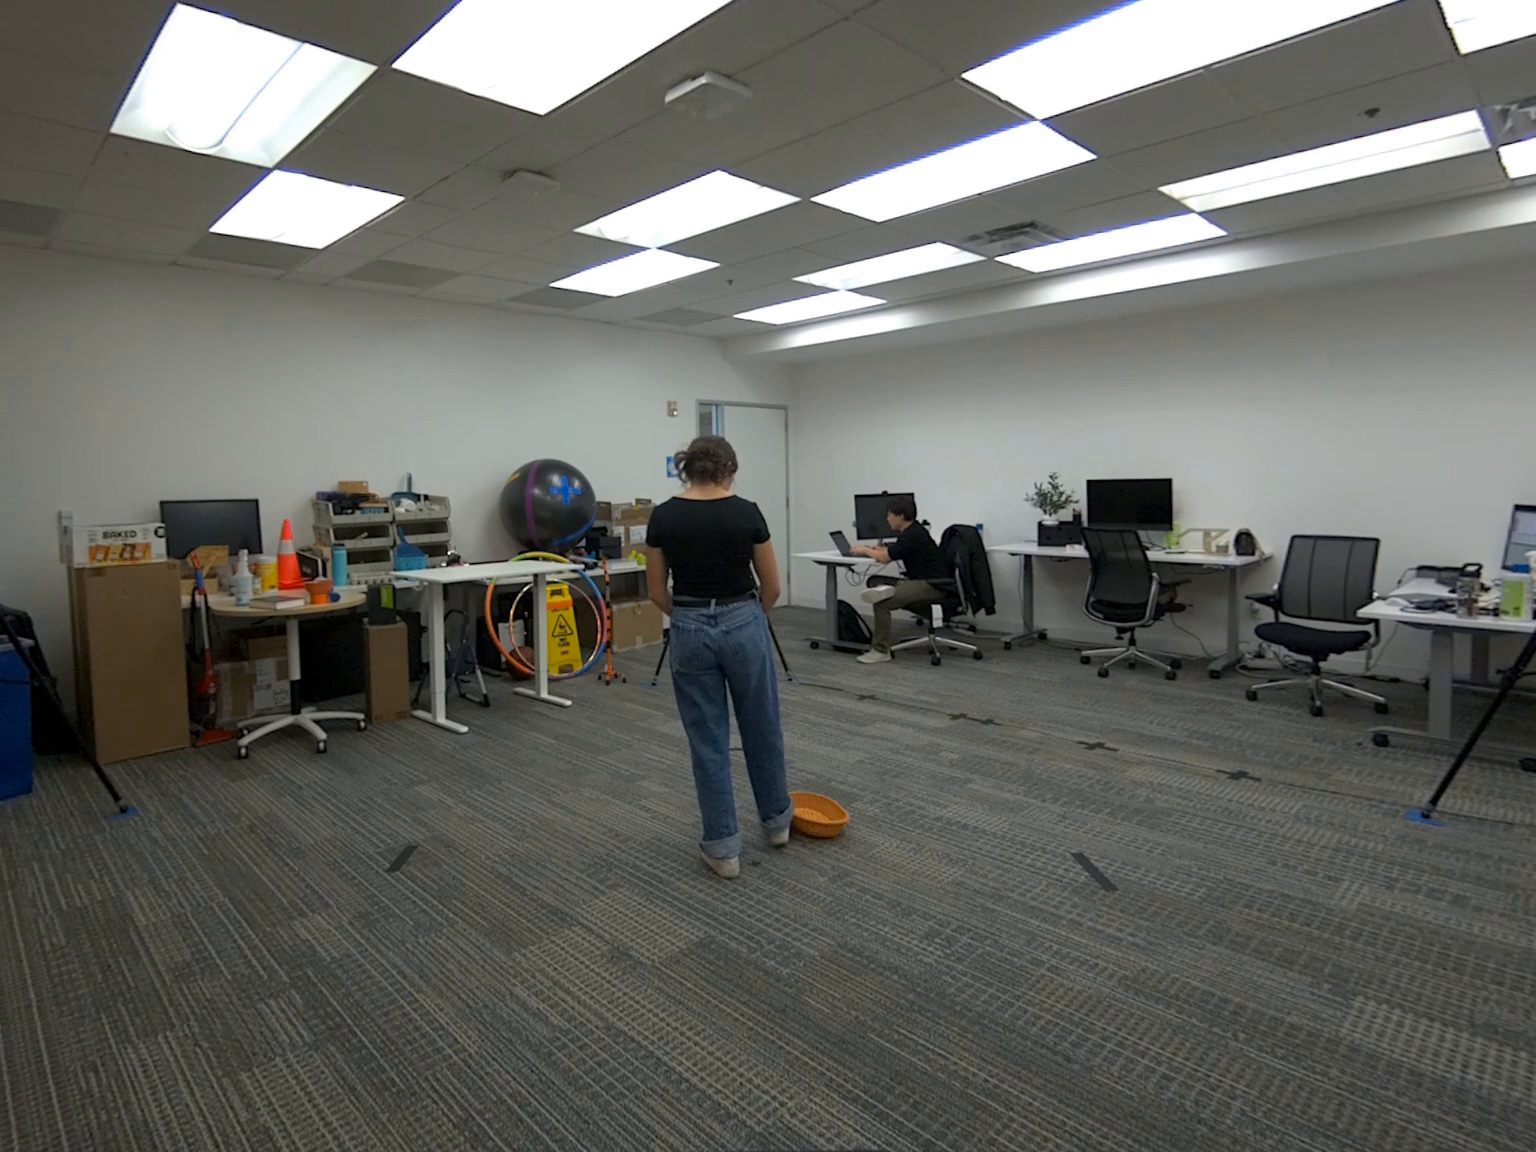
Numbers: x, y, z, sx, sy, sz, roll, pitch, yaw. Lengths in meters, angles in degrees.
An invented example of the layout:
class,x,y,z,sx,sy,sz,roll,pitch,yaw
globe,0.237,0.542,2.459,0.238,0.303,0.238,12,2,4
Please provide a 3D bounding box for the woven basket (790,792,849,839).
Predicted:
class,x,y,z,sx,sy,sz,roll,pitch,yaw
woven basket,0.182,0.960,3.424,0.249,0.073,0.356,5,4,-15
